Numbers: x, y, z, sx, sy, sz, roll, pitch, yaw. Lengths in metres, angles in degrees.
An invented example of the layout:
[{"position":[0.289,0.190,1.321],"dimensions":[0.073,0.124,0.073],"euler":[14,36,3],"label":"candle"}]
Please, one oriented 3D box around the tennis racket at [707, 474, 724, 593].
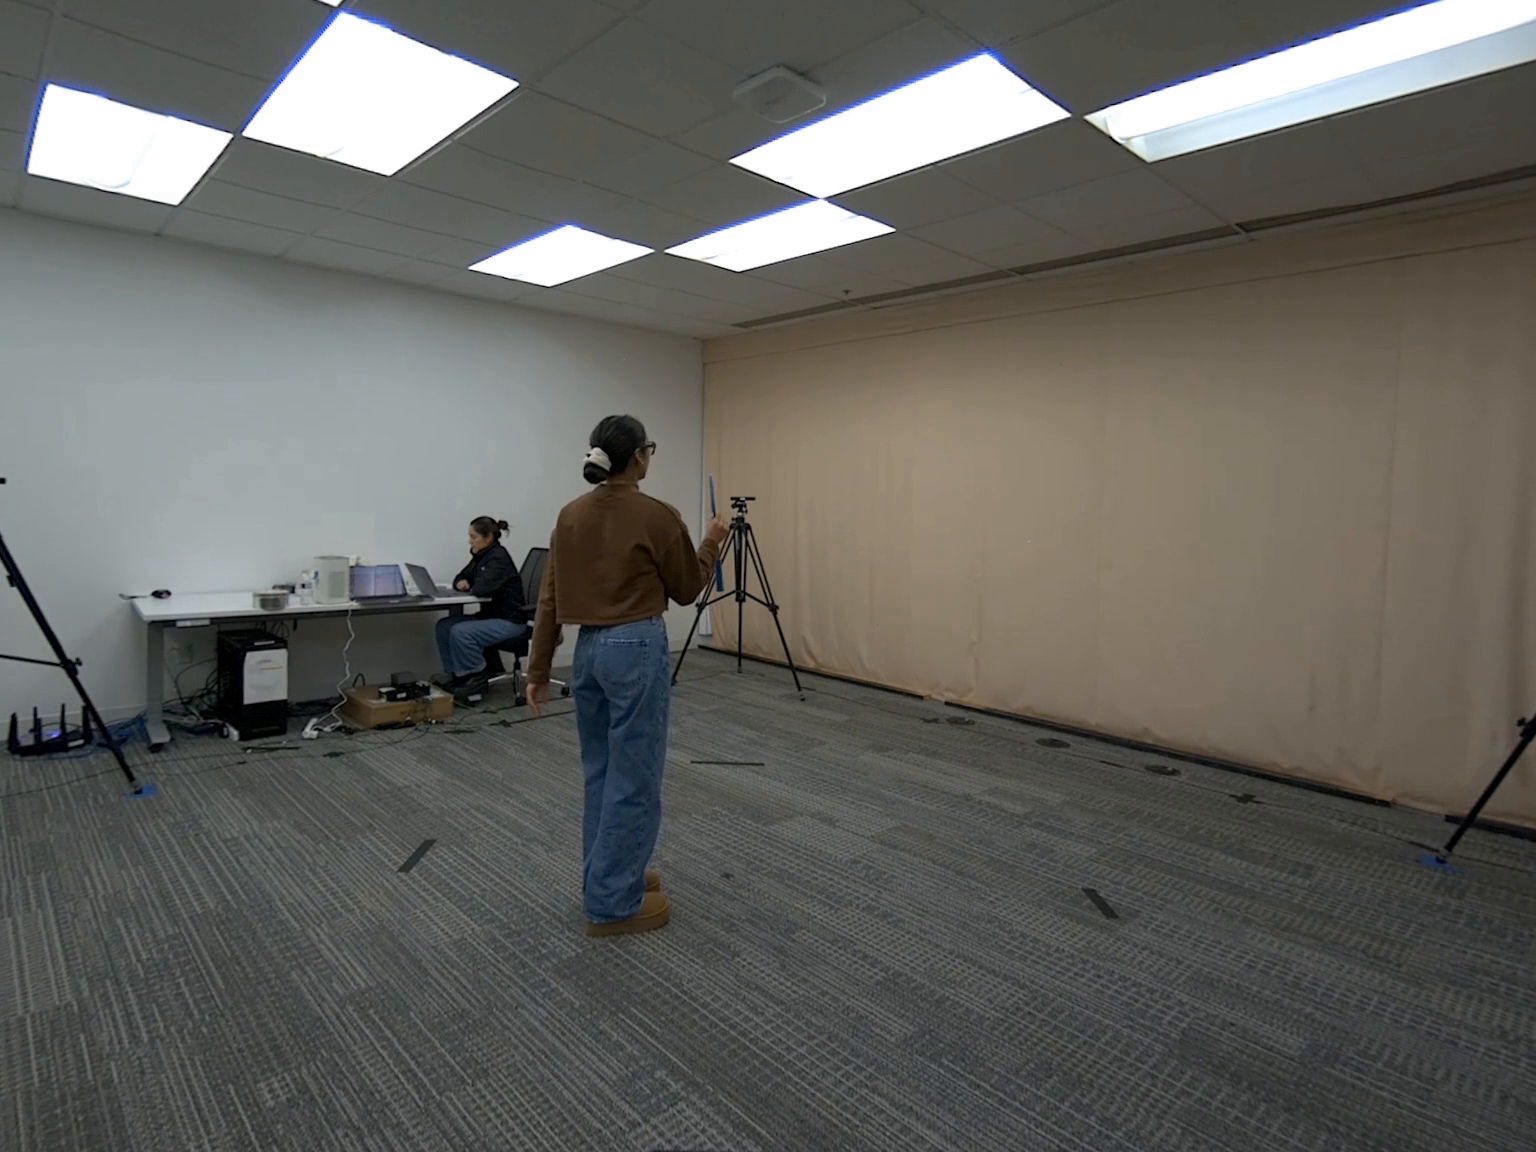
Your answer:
[{"position":[-0.206,-0.160,3.049],"dimensions":[0.031,0.430,0.216],"euler":[-5,8,-6],"label":"tennis racket"}]
